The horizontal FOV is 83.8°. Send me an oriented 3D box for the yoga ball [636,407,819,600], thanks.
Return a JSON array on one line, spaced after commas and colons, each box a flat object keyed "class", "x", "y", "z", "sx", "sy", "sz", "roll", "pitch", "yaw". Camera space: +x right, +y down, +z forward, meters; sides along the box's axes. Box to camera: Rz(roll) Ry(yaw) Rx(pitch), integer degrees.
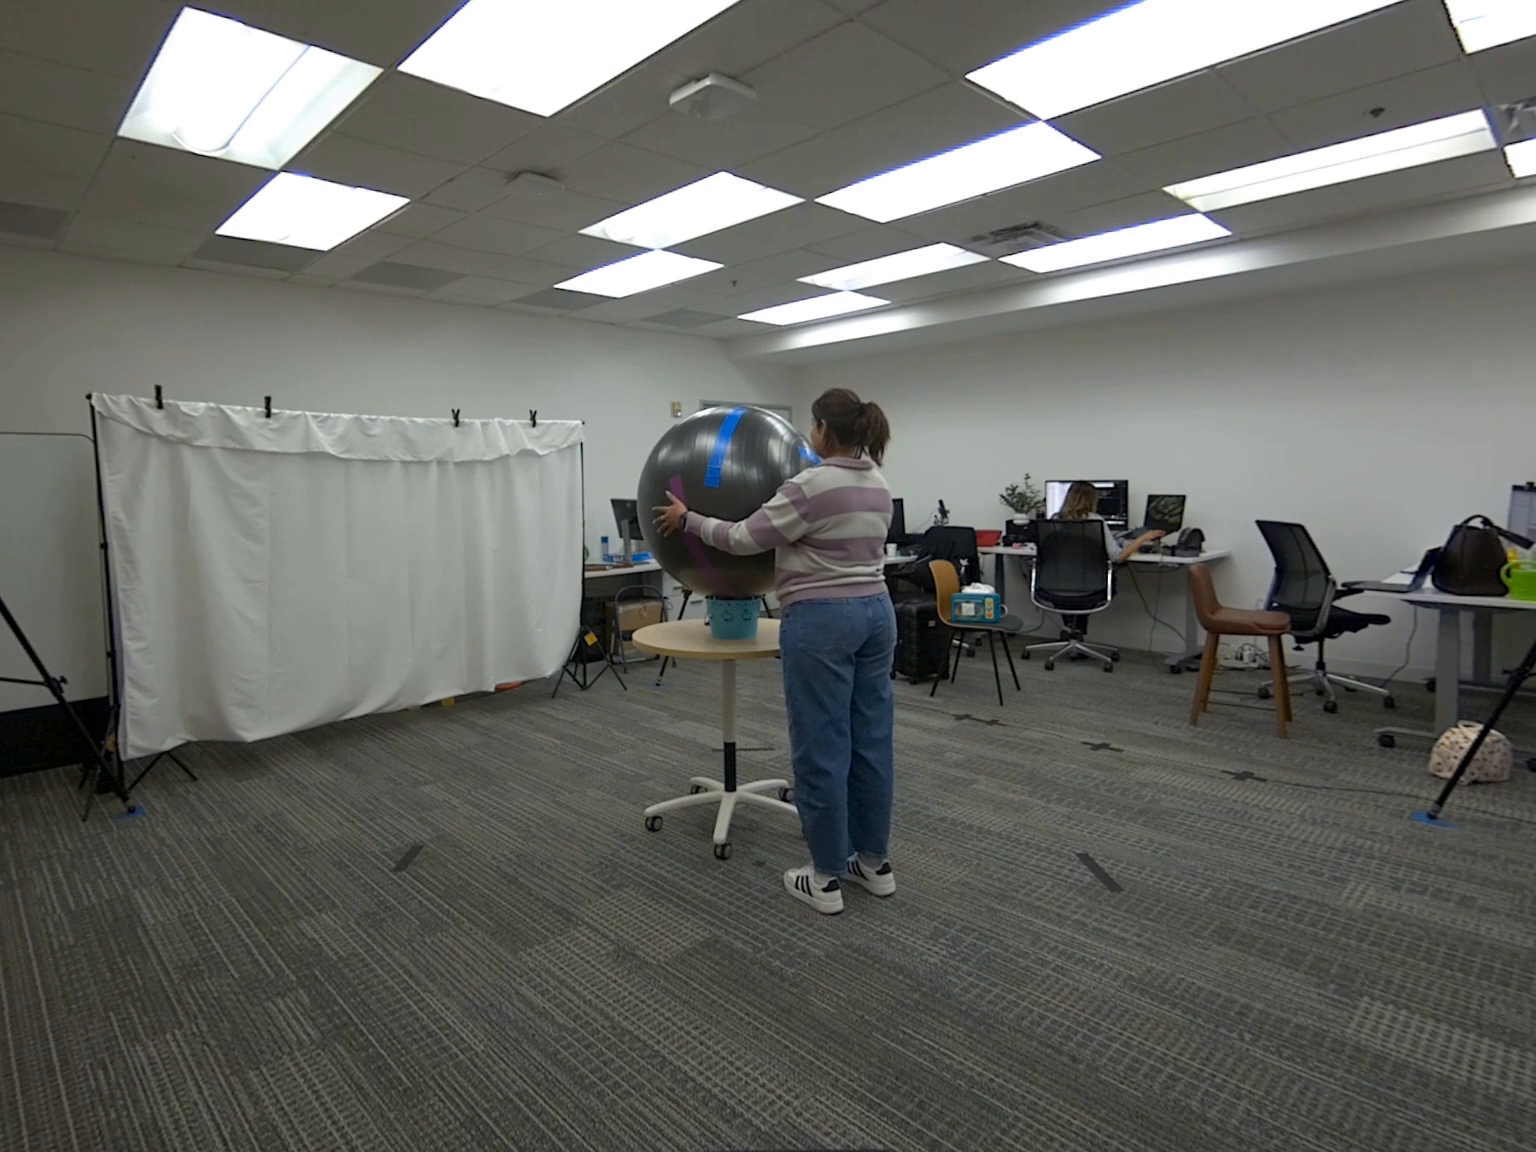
[{"class": "yoga ball", "x": -0.148, "y": -0.286, "z": 3.365, "sx": 0.757, "sy": 0.755, "sz": 0.762, "roll": -1, "pitch": 5, "yaw": -2}]
